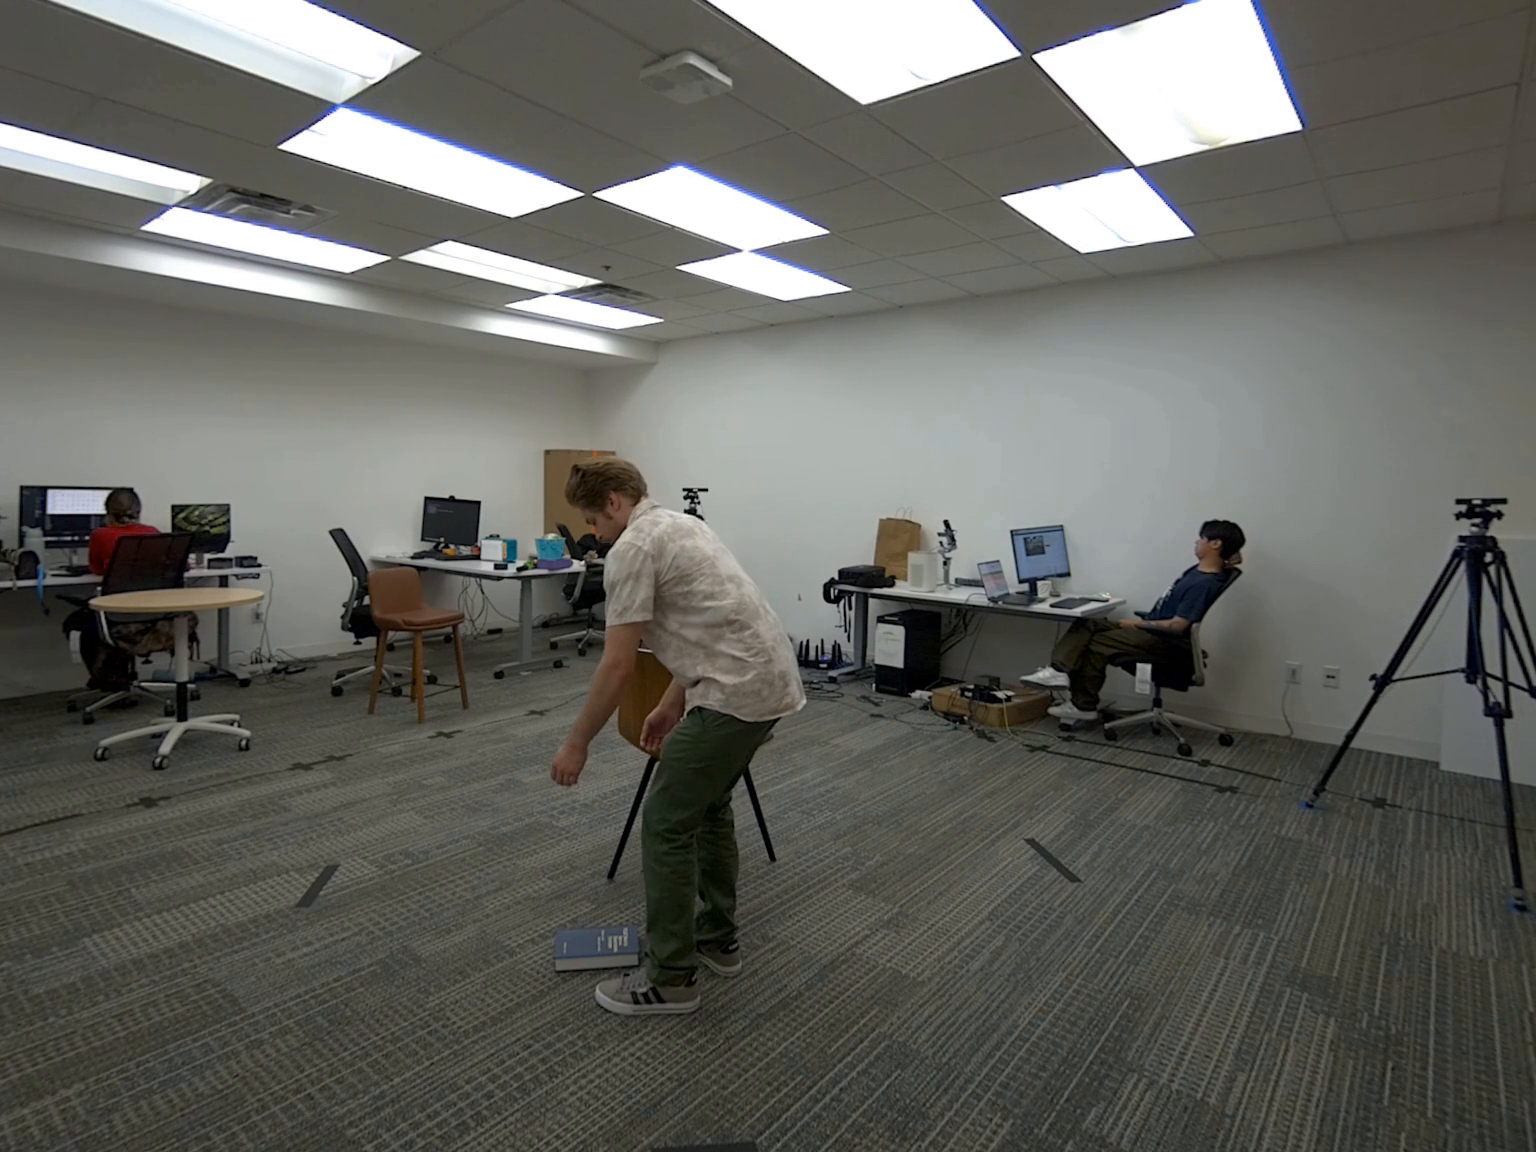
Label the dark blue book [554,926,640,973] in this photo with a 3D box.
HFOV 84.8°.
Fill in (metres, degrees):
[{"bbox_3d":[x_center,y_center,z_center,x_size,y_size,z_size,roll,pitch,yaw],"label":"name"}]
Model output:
[{"bbox_3d":[-0.513,1.099,2.521,0.242,0.045,0.166,0,6,-10],"label":"dark blue book"}]
